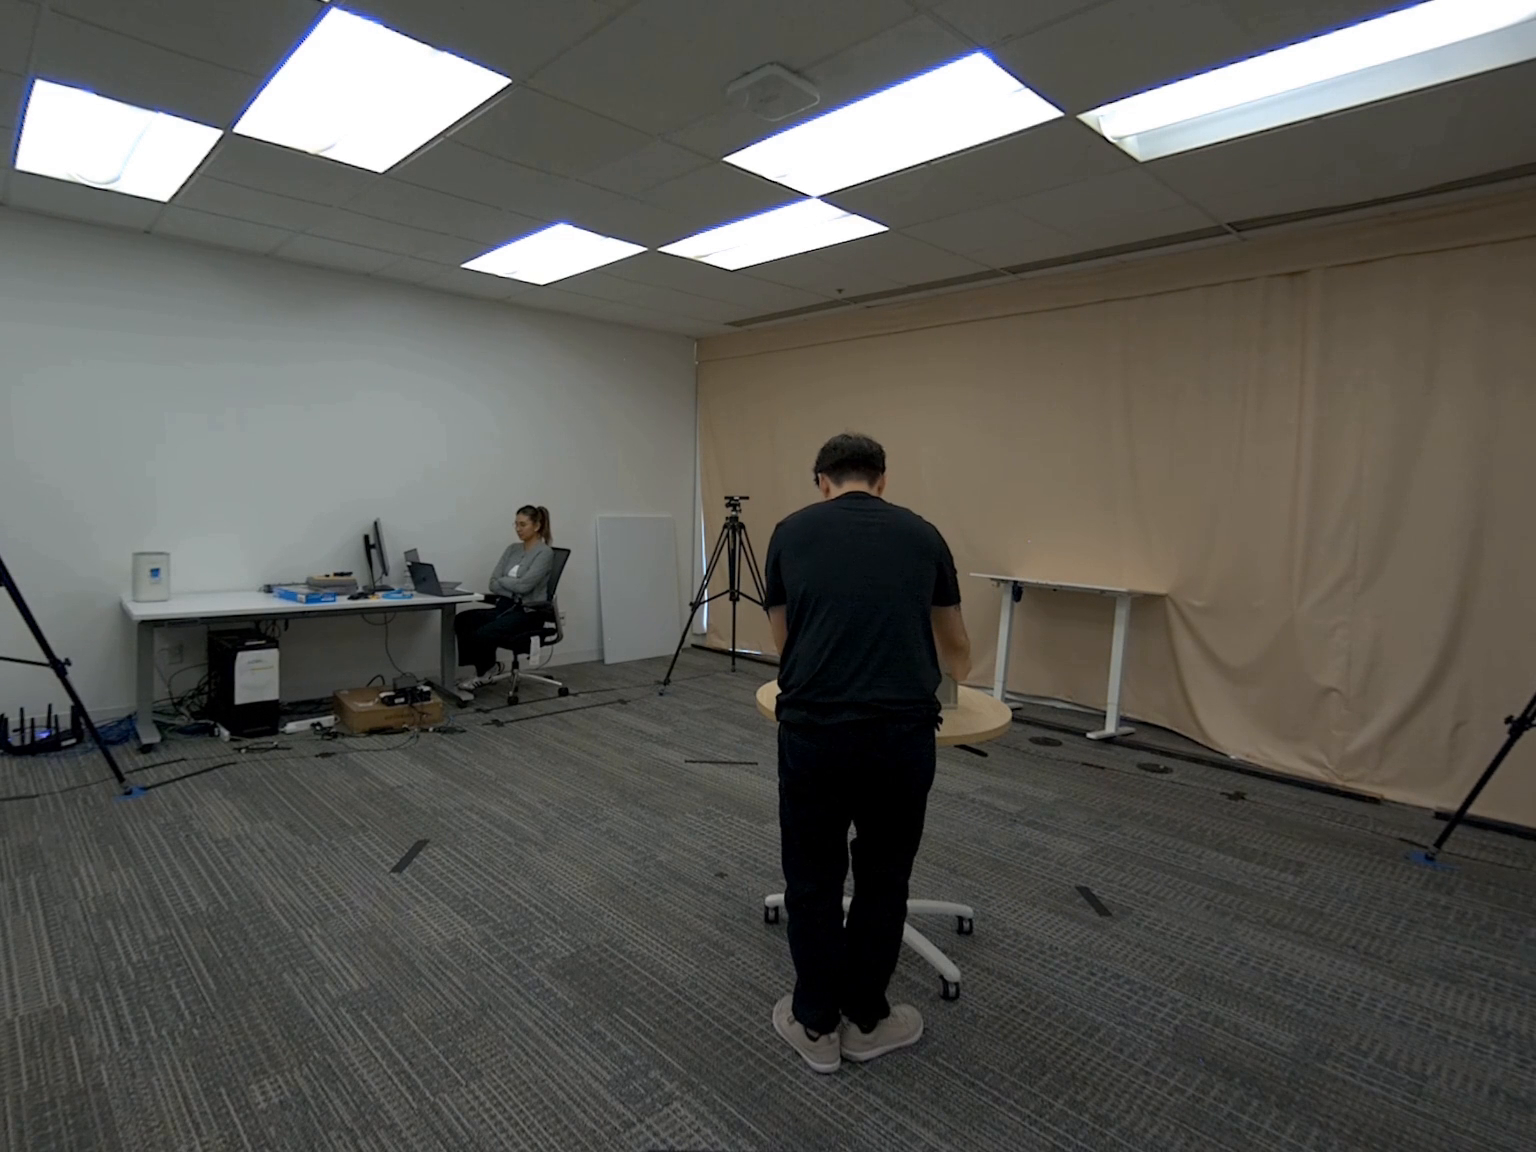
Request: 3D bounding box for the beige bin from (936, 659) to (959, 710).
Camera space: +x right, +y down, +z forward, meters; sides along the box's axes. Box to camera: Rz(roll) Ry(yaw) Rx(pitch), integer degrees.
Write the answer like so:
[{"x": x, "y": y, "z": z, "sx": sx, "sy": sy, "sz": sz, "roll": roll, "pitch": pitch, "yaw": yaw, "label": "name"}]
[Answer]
[{"x": 0.345, "y": 0.203, "z": 2.557, "sx": 0.419, "sy": 0.377, "sz": 0.190, "roll": 1, "pitch": 0, "yaw": -10, "label": "beige bin"}]
